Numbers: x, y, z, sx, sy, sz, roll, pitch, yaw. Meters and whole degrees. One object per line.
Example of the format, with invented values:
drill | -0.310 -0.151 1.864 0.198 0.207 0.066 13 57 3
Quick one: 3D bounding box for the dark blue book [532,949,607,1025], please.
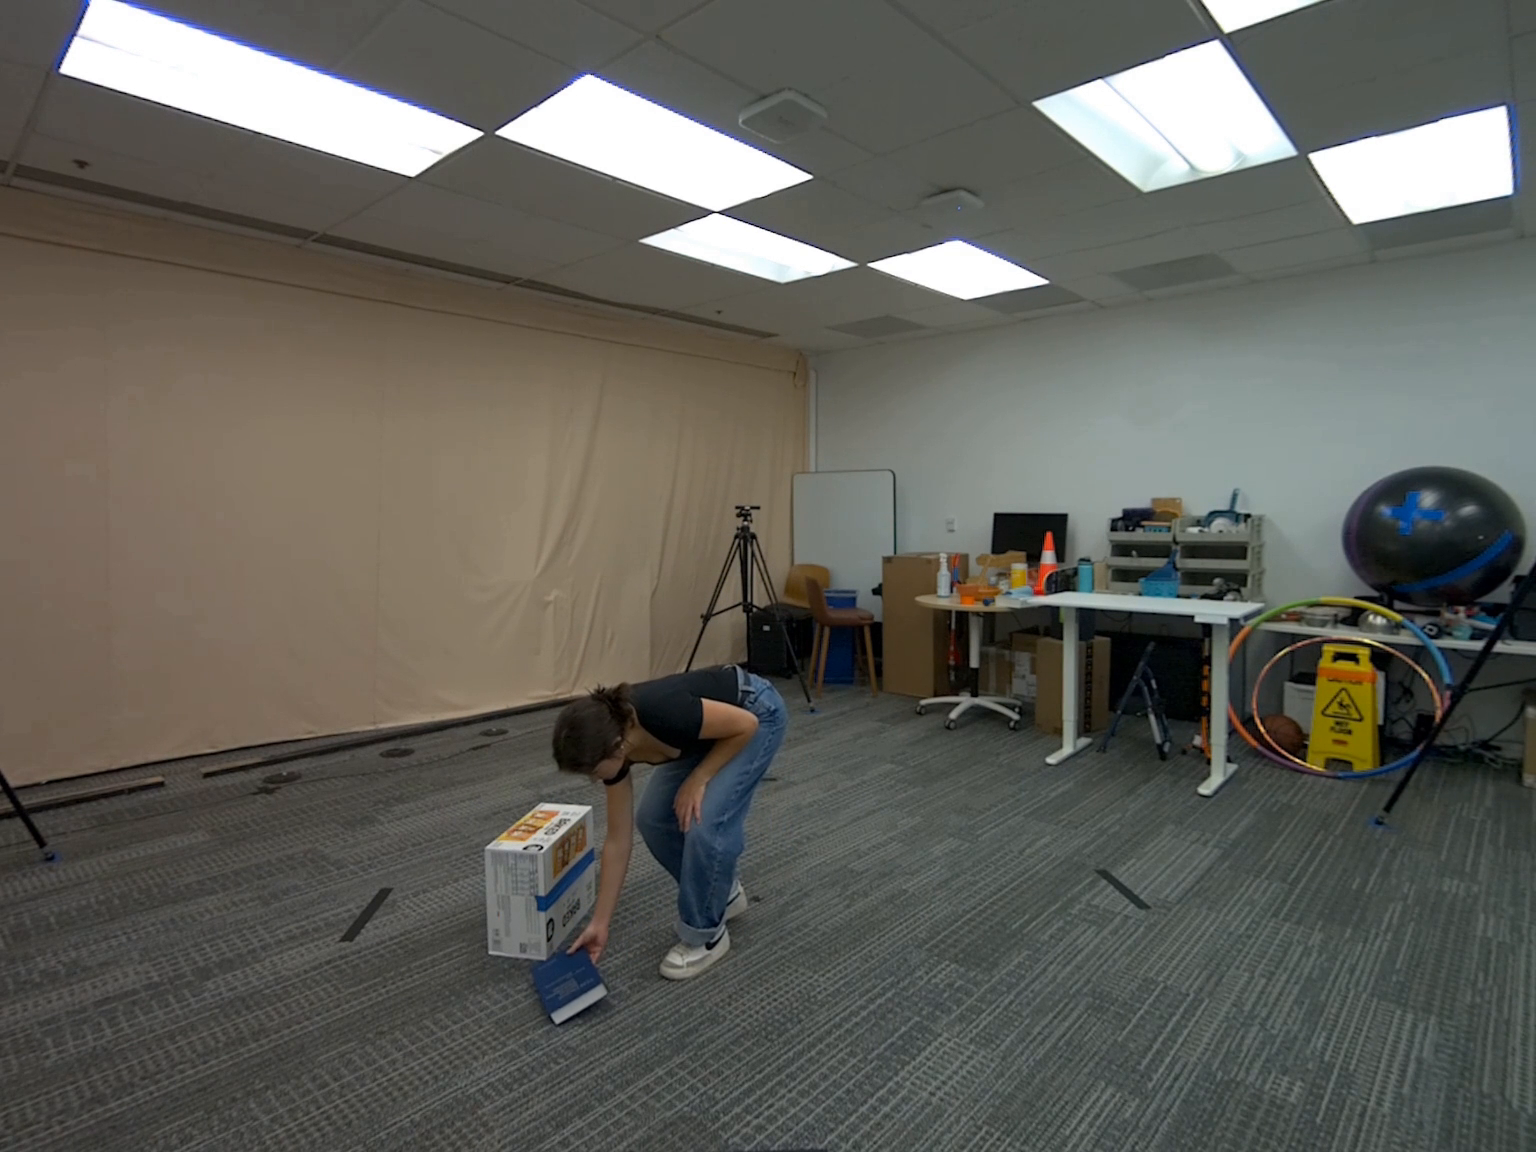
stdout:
dark blue book | -0.566 1.157 2.380 0.161 0.045 0.252 -24 14 -25
